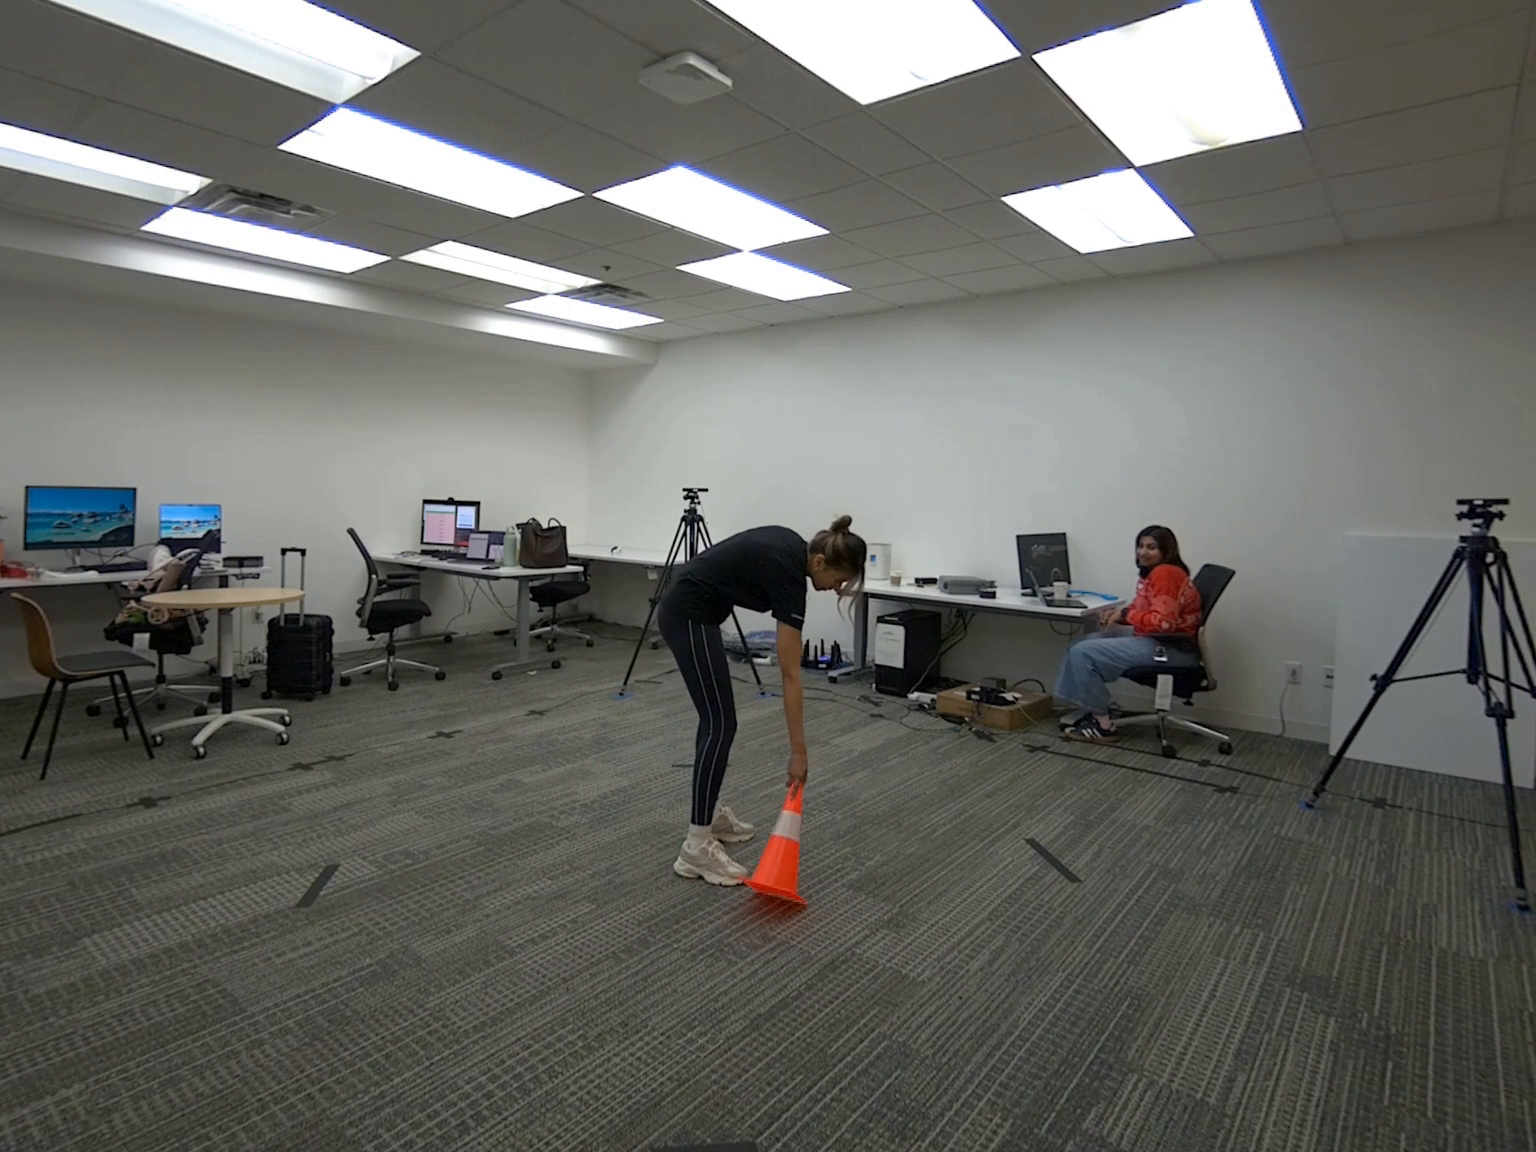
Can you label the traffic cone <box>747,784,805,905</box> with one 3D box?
[{"bbox_3d":[0.061,0.885,2.914,0.209,0.389,0.197,5,-27,24],"label":"traffic cone"}]
